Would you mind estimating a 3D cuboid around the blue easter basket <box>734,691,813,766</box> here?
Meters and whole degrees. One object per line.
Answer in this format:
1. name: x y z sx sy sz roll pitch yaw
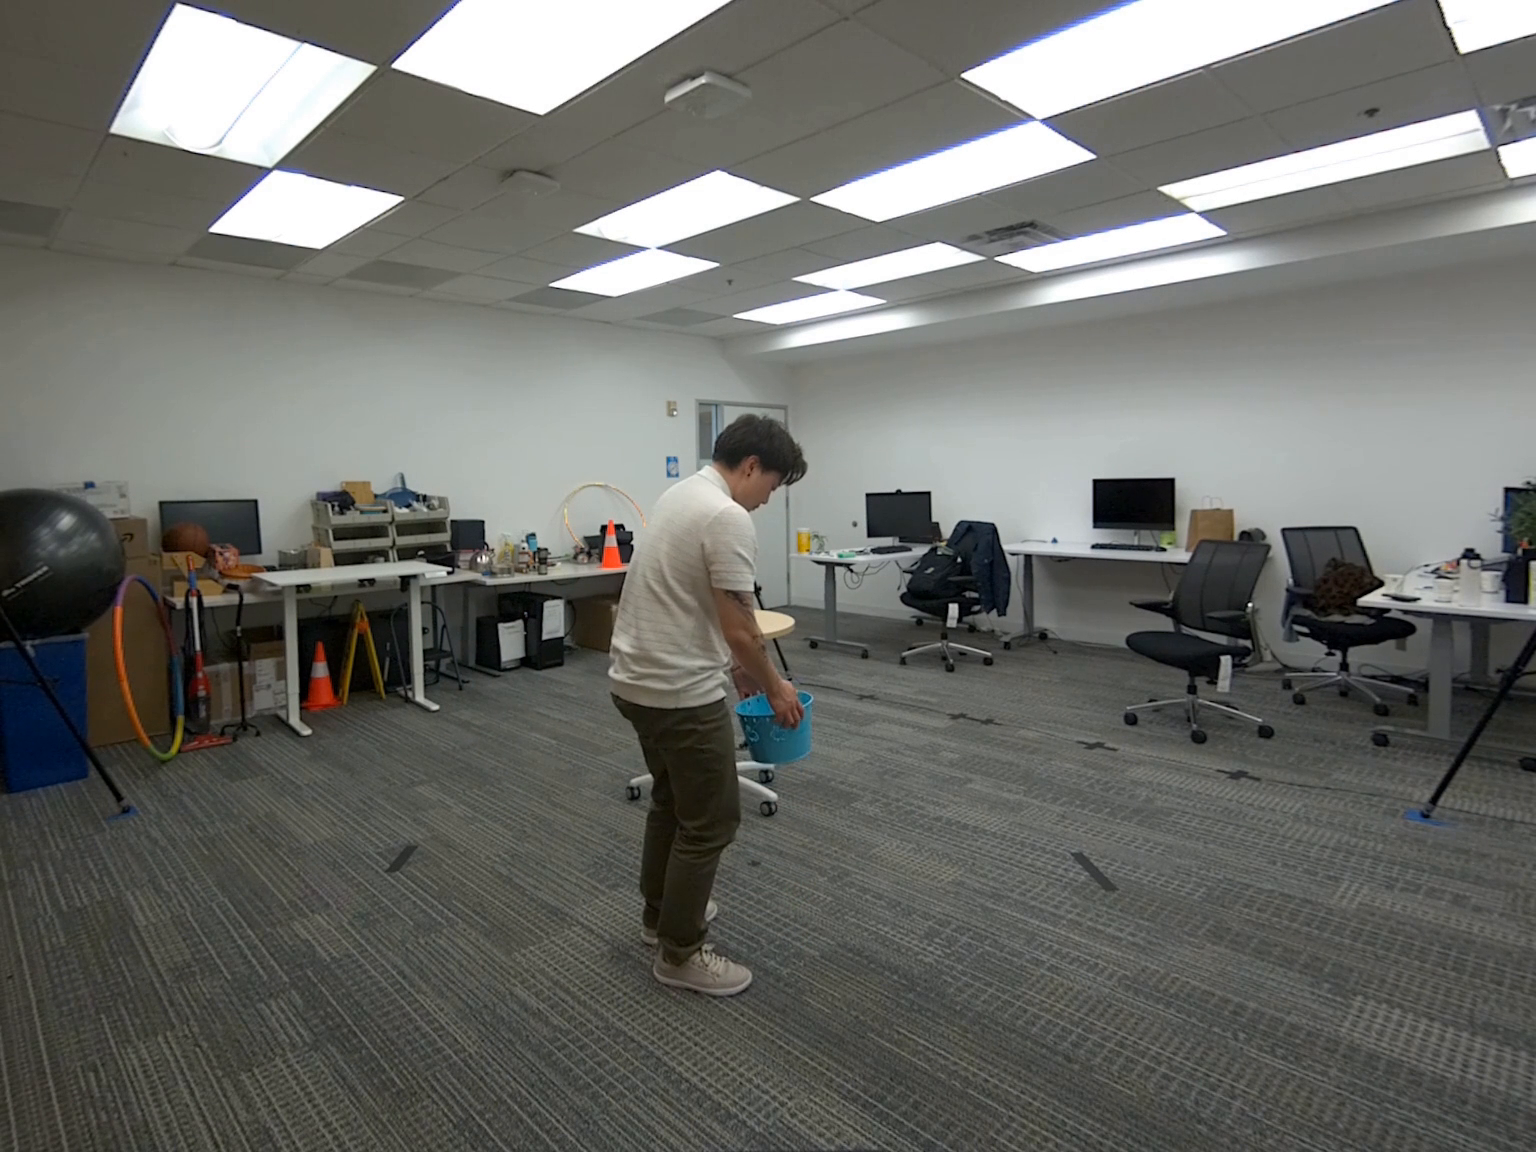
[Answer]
1. blue easter basket: 0.024 0.440 2.501 0.243 0.155 0.245 -7 8 -1
